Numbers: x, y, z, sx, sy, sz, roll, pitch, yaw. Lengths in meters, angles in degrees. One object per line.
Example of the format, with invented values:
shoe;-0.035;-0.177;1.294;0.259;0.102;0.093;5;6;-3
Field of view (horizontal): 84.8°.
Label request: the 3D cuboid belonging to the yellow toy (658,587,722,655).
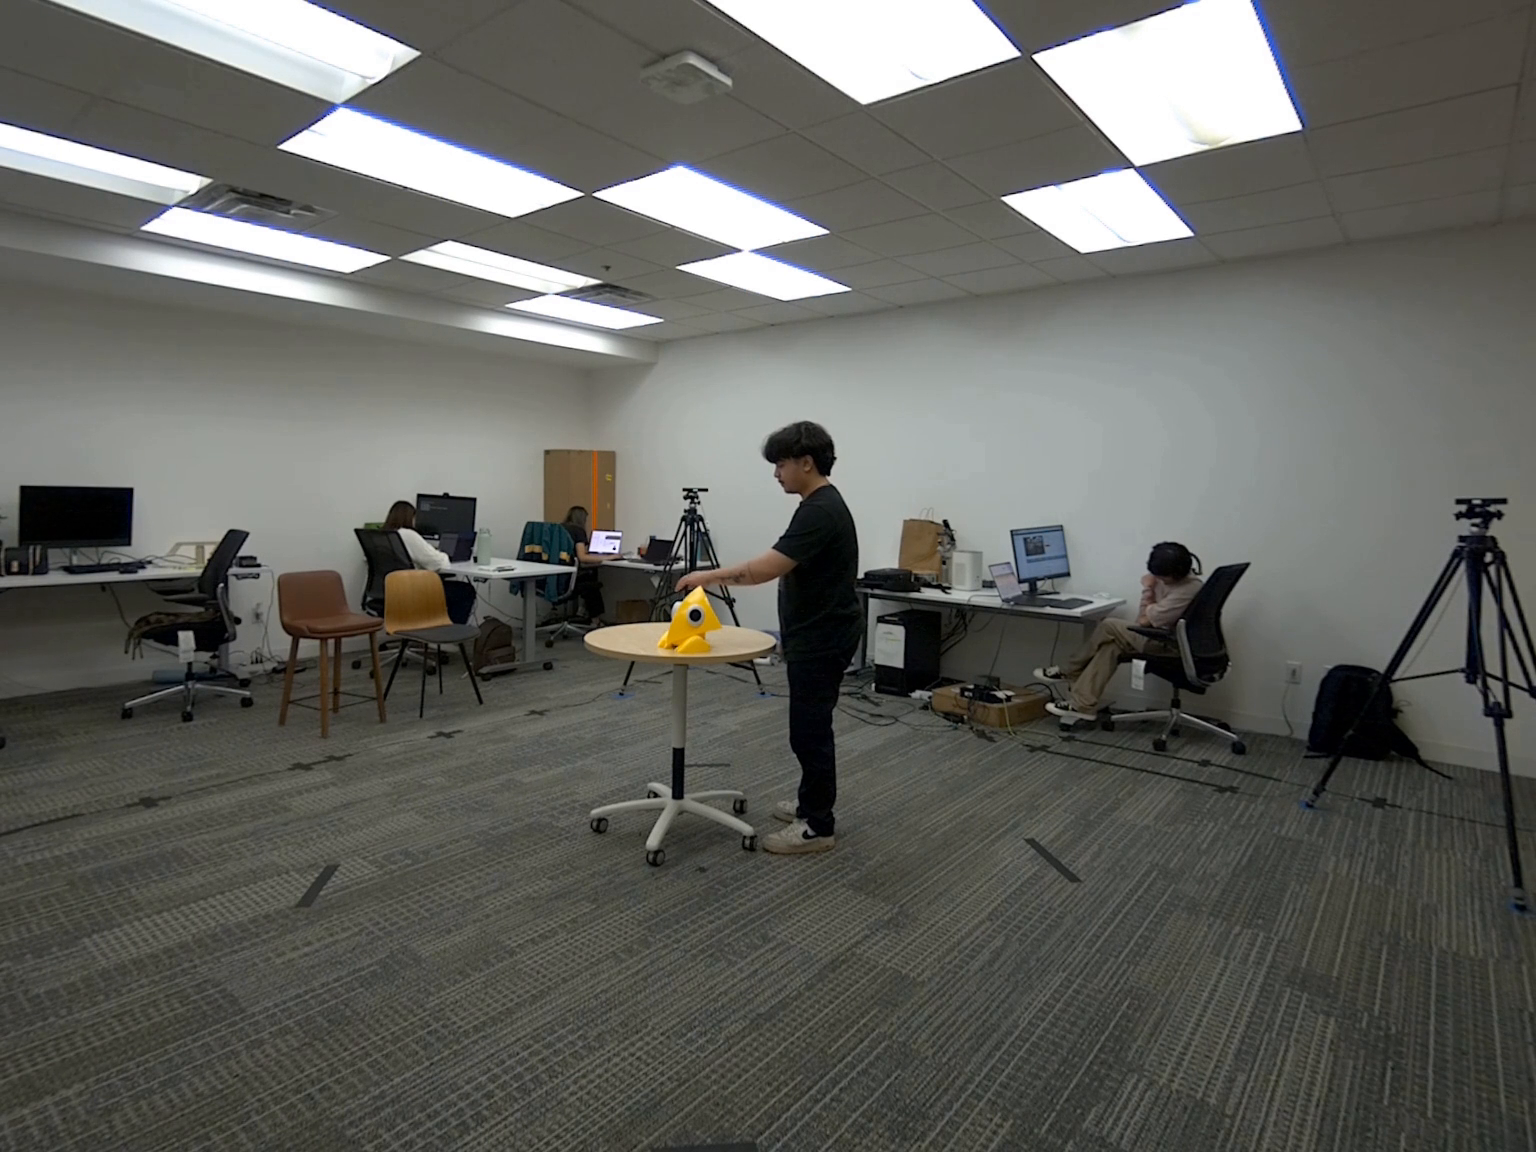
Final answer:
yellow toy;-0.312;0.153;3.206;0.187;0.230;0.212;-4;7;-42
